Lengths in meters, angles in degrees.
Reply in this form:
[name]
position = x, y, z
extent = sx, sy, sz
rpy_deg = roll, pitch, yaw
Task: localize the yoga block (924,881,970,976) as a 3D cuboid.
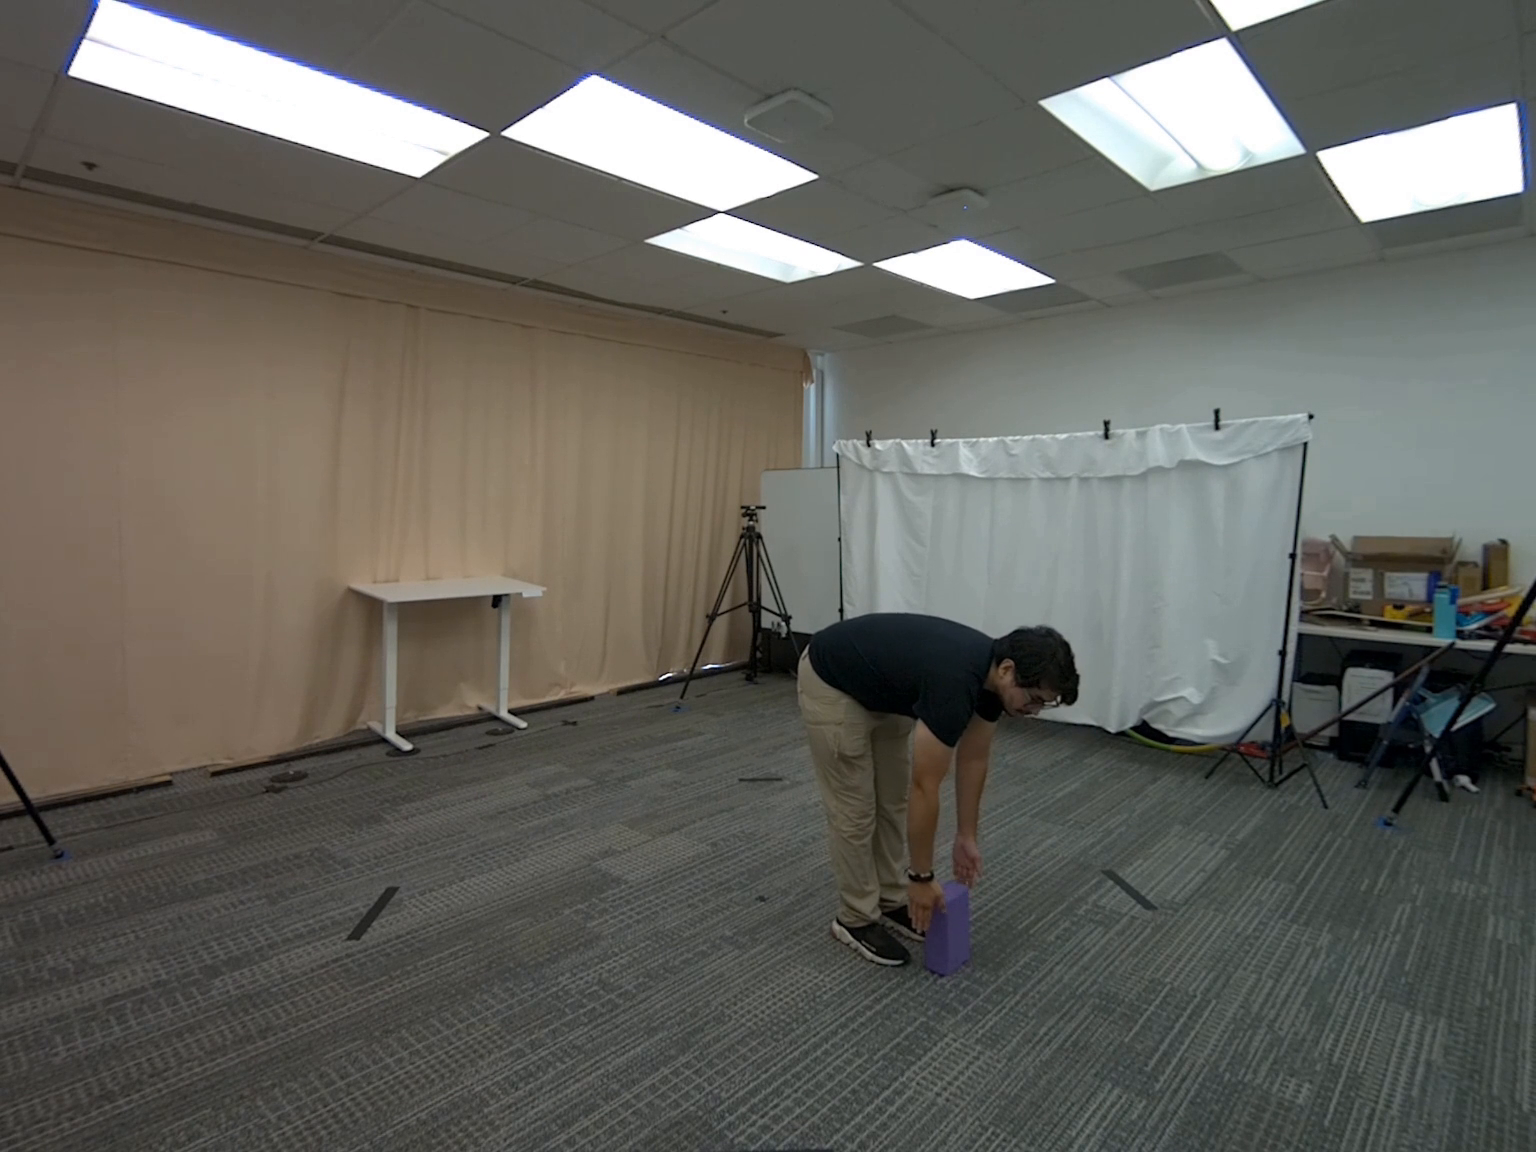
[yoga block]
position = 0.544, 1.058, 2.549
extent = 0.144, 0.229, 0.079
rpy_deg = -3, 3, -44
